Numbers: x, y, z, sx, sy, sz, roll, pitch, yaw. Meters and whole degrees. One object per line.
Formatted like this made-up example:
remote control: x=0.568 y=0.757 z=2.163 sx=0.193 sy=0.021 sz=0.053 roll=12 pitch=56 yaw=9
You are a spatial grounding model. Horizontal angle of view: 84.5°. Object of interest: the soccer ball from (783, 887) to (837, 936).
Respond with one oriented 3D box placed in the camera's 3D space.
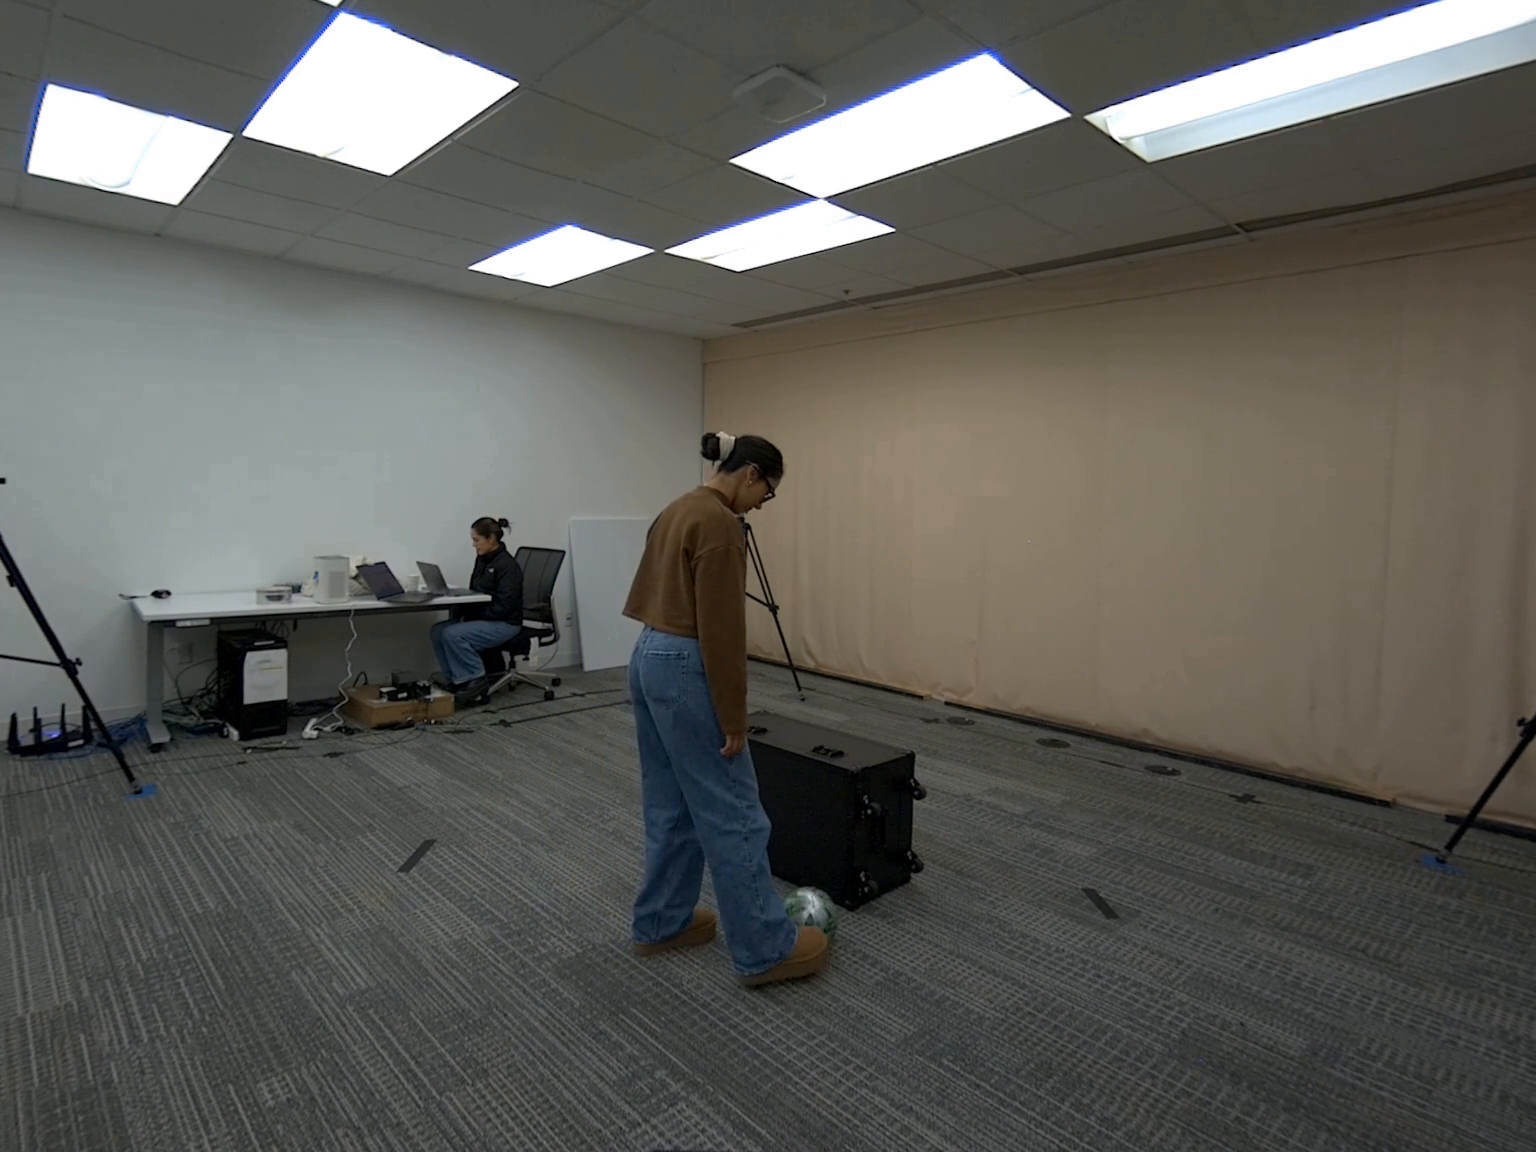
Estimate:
soccer ball: x=0.106 y=1.069 z=2.613 sx=0.187 sy=0.187 sz=0.188 roll=1 pitch=4 yaw=-1
